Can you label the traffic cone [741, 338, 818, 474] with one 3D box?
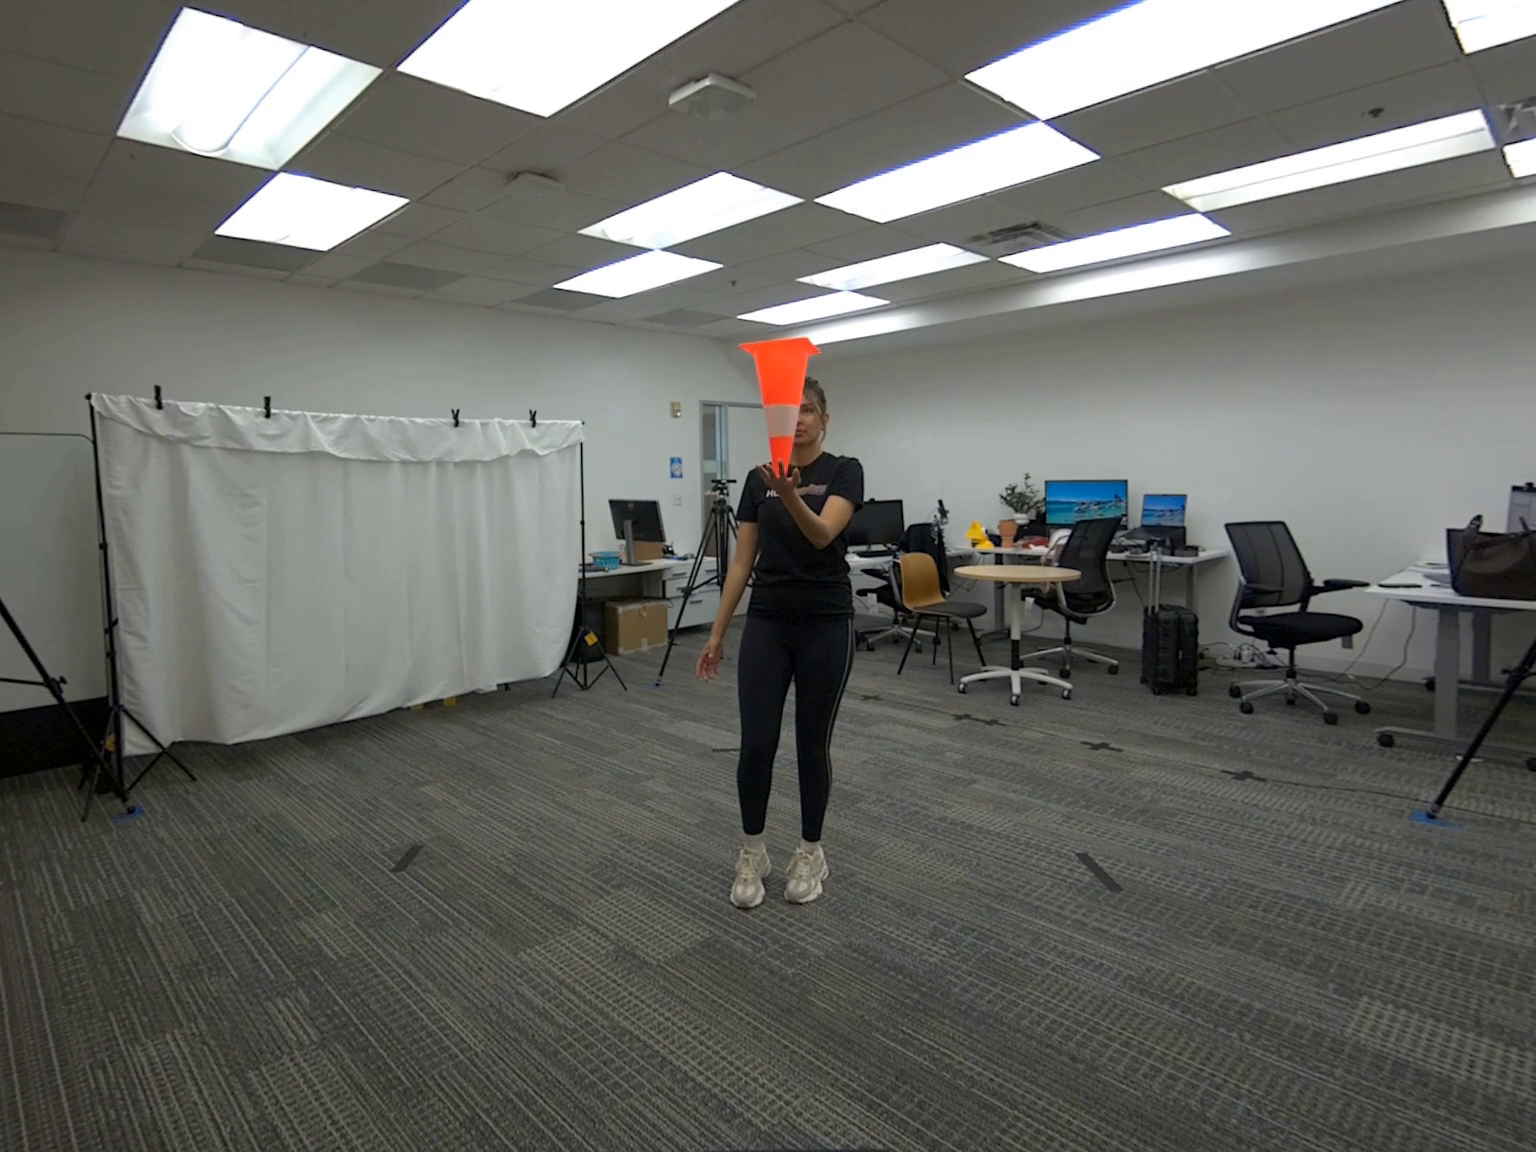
[{"bbox_3d":[0.045,-0.459,2.429,0.207,0.384,0.201,-1,-2,18],"label":"traffic cone"}]
